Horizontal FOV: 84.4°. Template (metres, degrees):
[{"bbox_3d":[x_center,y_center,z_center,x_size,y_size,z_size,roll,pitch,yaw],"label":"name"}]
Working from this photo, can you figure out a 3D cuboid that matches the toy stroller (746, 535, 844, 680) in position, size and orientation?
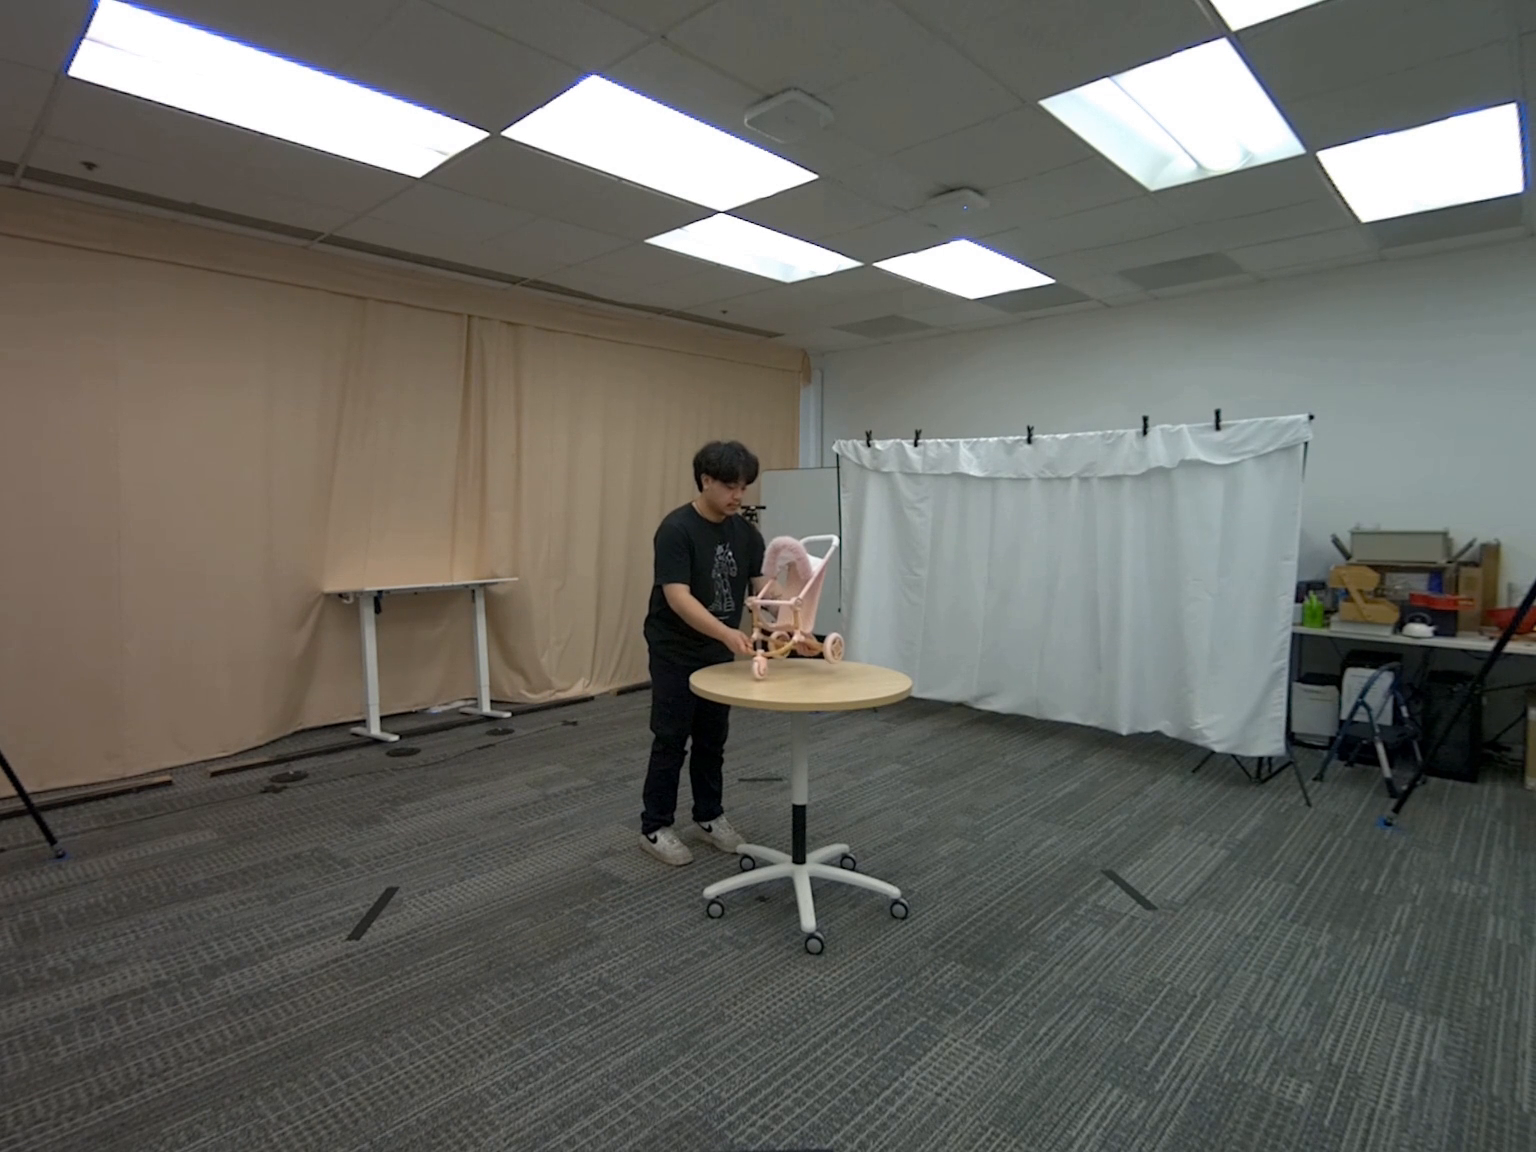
[{"bbox_3d":[0.078,0.095,2.995,0.330,0.536,0.290,9,-7,-43],"label":"toy stroller"}]
